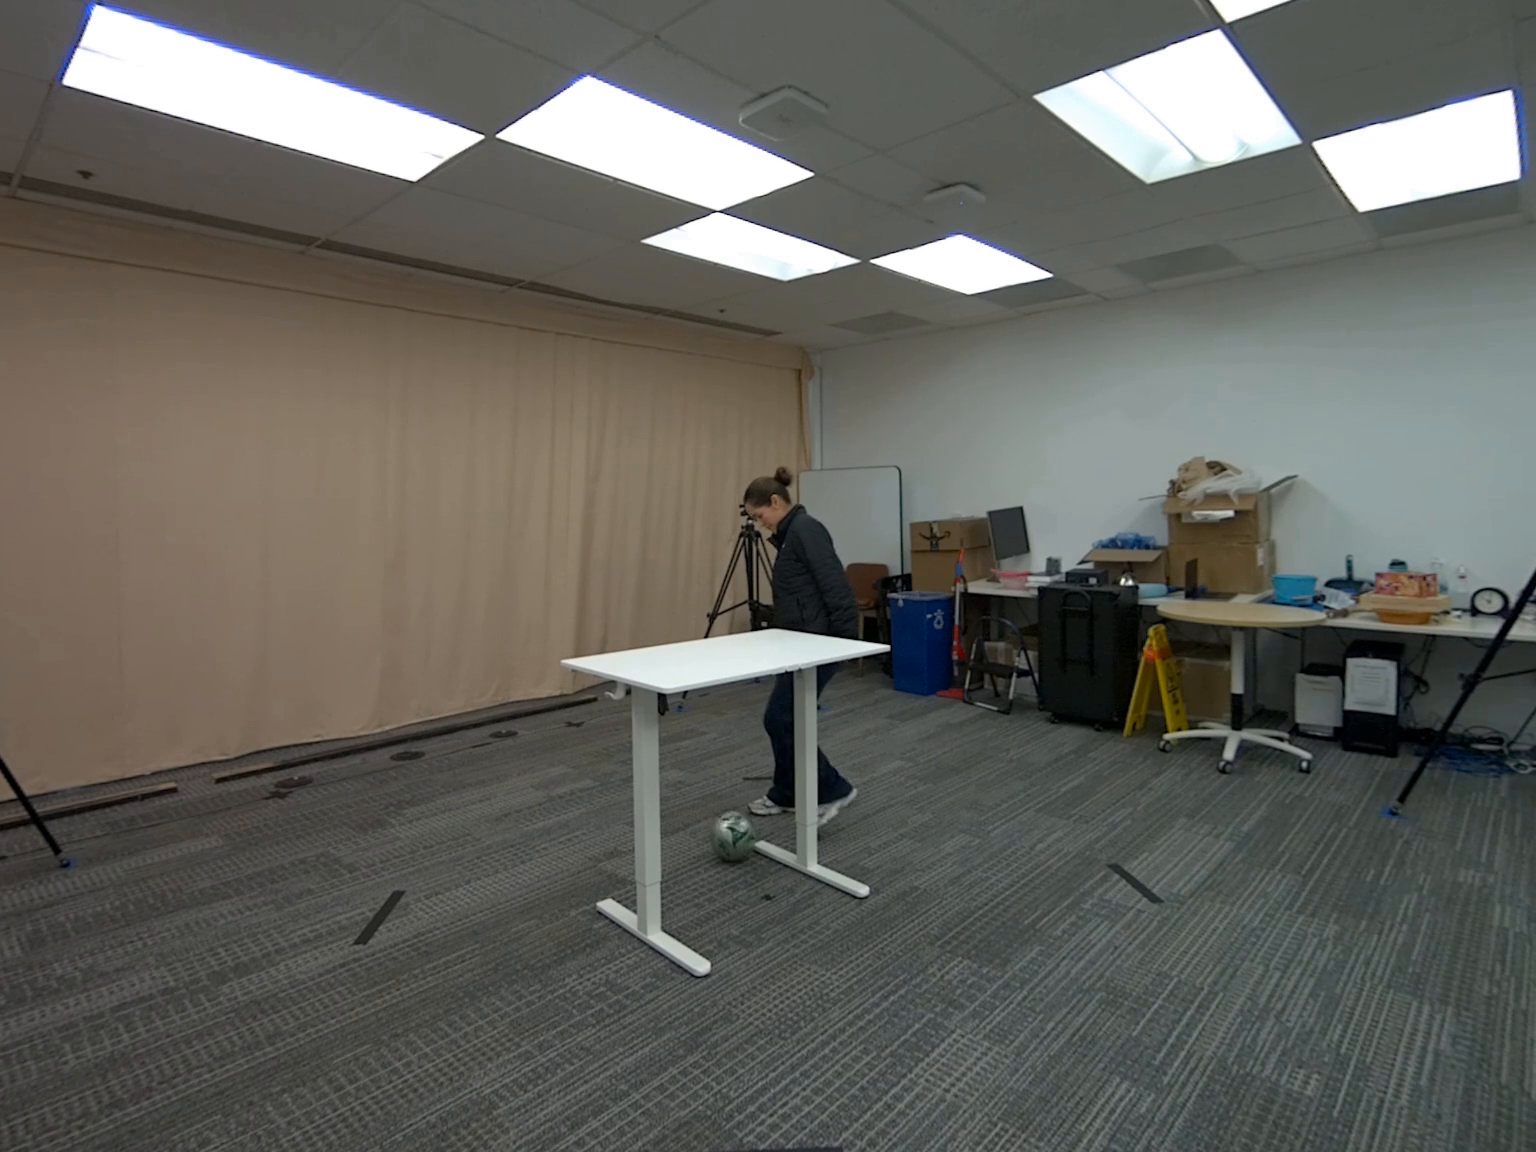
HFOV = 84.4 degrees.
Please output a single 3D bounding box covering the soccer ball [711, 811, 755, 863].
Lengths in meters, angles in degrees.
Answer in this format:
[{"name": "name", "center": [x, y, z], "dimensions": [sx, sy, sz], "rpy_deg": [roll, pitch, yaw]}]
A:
[{"name": "soccer ball", "center": [-0.136, 1.024, 3.298], "dimensions": [0.187, 0.187, 0.188], "rpy_deg": [-1, 4, -2]}]
